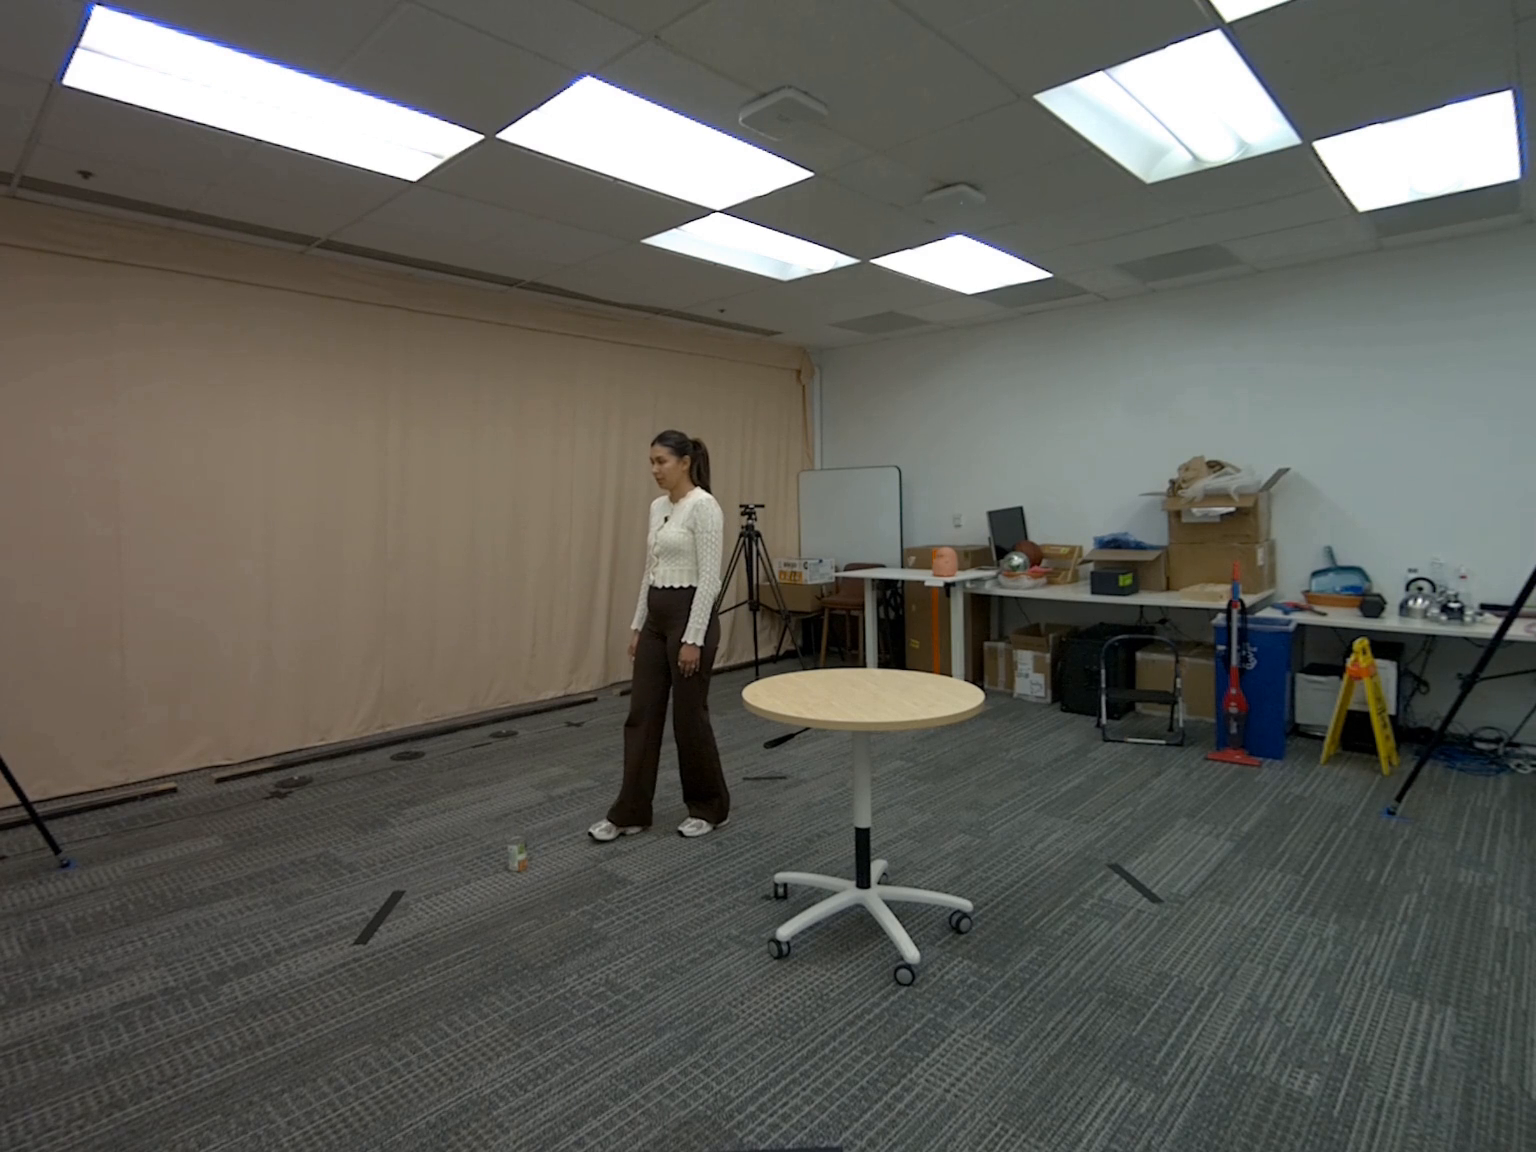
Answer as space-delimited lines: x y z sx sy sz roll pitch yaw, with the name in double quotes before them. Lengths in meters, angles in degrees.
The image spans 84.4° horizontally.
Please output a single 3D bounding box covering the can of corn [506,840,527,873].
"can of corn" -0.982 1.085 3.274 0.074 0.111 0.074 -4 2 -2
